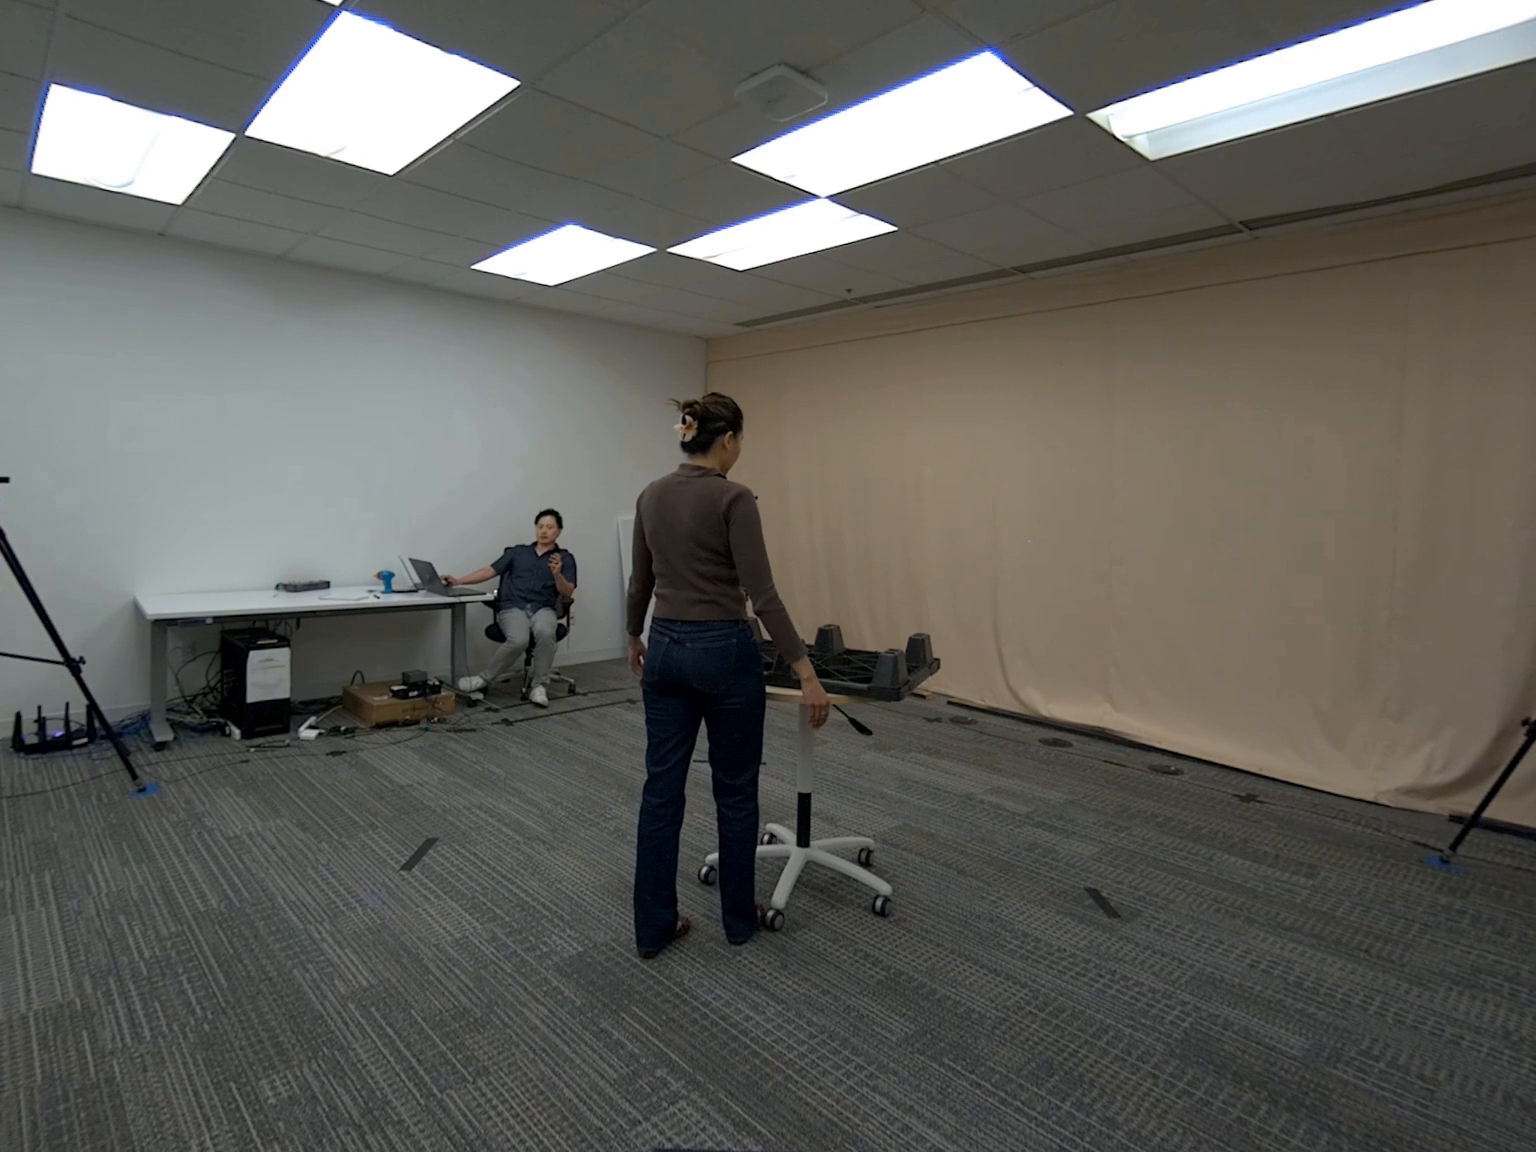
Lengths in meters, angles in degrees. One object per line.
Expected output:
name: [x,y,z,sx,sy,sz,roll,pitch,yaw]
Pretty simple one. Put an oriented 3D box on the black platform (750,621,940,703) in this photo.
black platform: [0.142,0.275,2.985,0.821,0.143,0.595,4,6,25]
